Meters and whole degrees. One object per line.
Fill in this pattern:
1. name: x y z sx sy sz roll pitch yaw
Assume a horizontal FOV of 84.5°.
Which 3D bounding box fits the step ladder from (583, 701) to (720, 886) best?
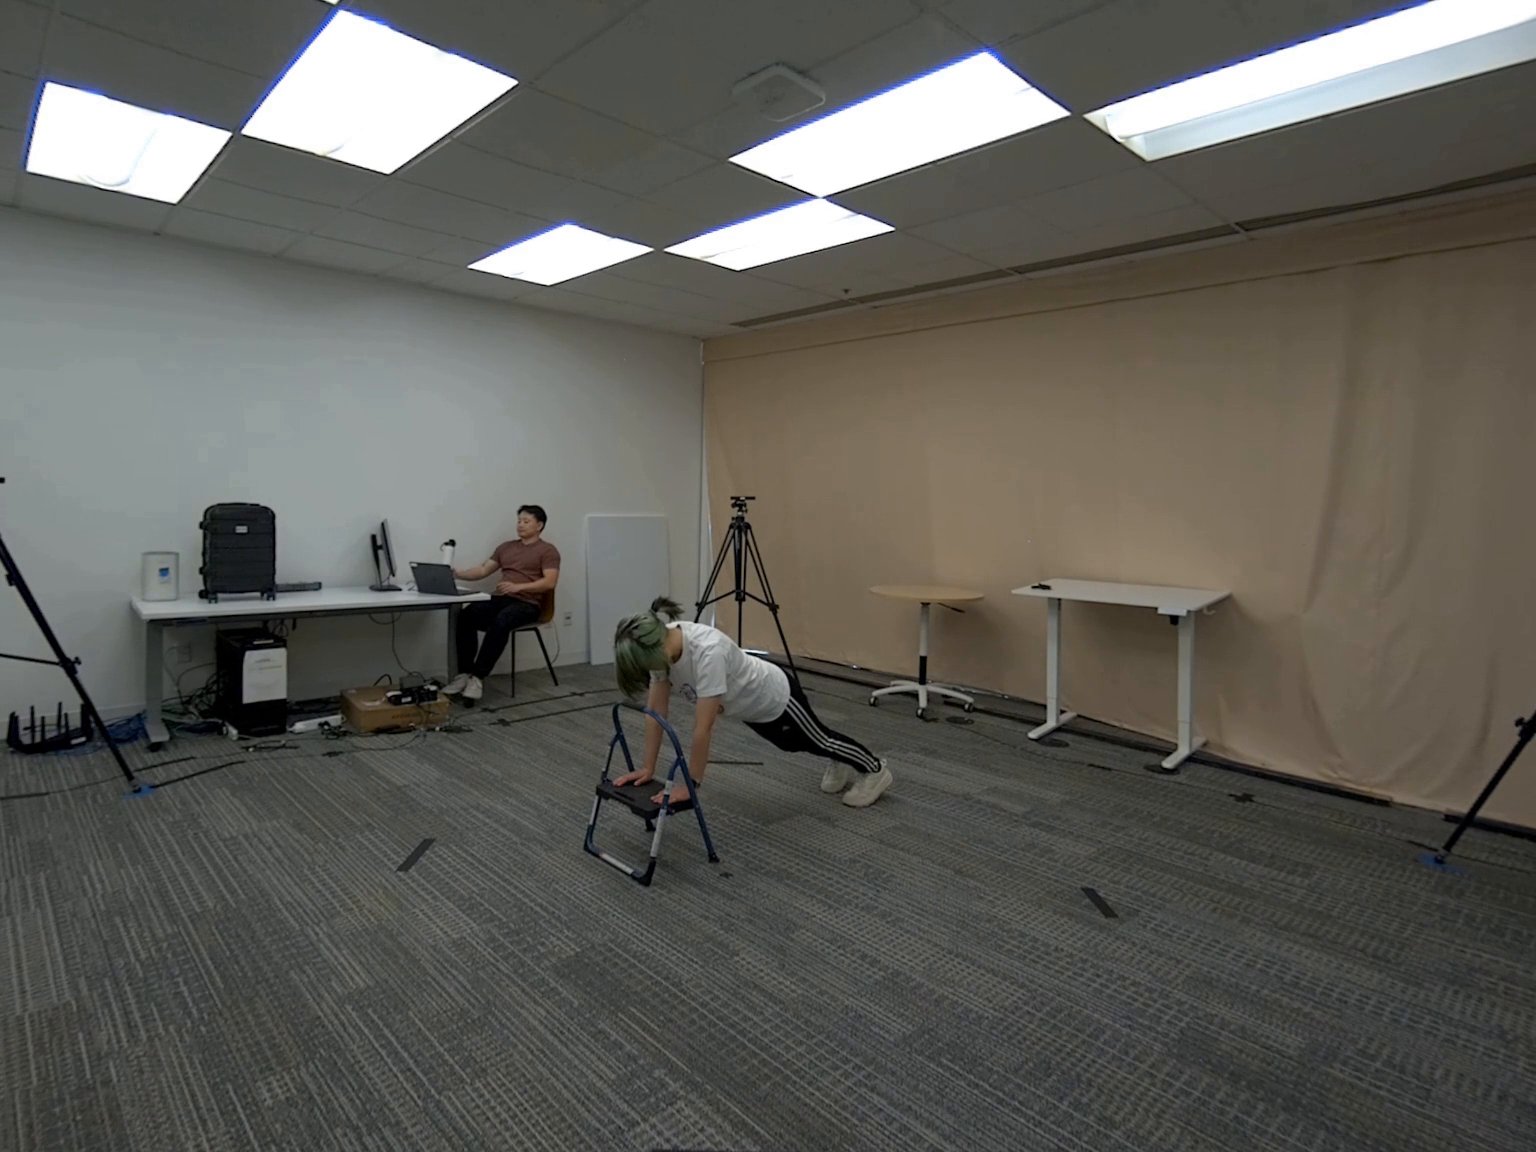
1. step ladder: -0.458 0.783 3.241 0.341 0.605 0.441 -2 5 -44
